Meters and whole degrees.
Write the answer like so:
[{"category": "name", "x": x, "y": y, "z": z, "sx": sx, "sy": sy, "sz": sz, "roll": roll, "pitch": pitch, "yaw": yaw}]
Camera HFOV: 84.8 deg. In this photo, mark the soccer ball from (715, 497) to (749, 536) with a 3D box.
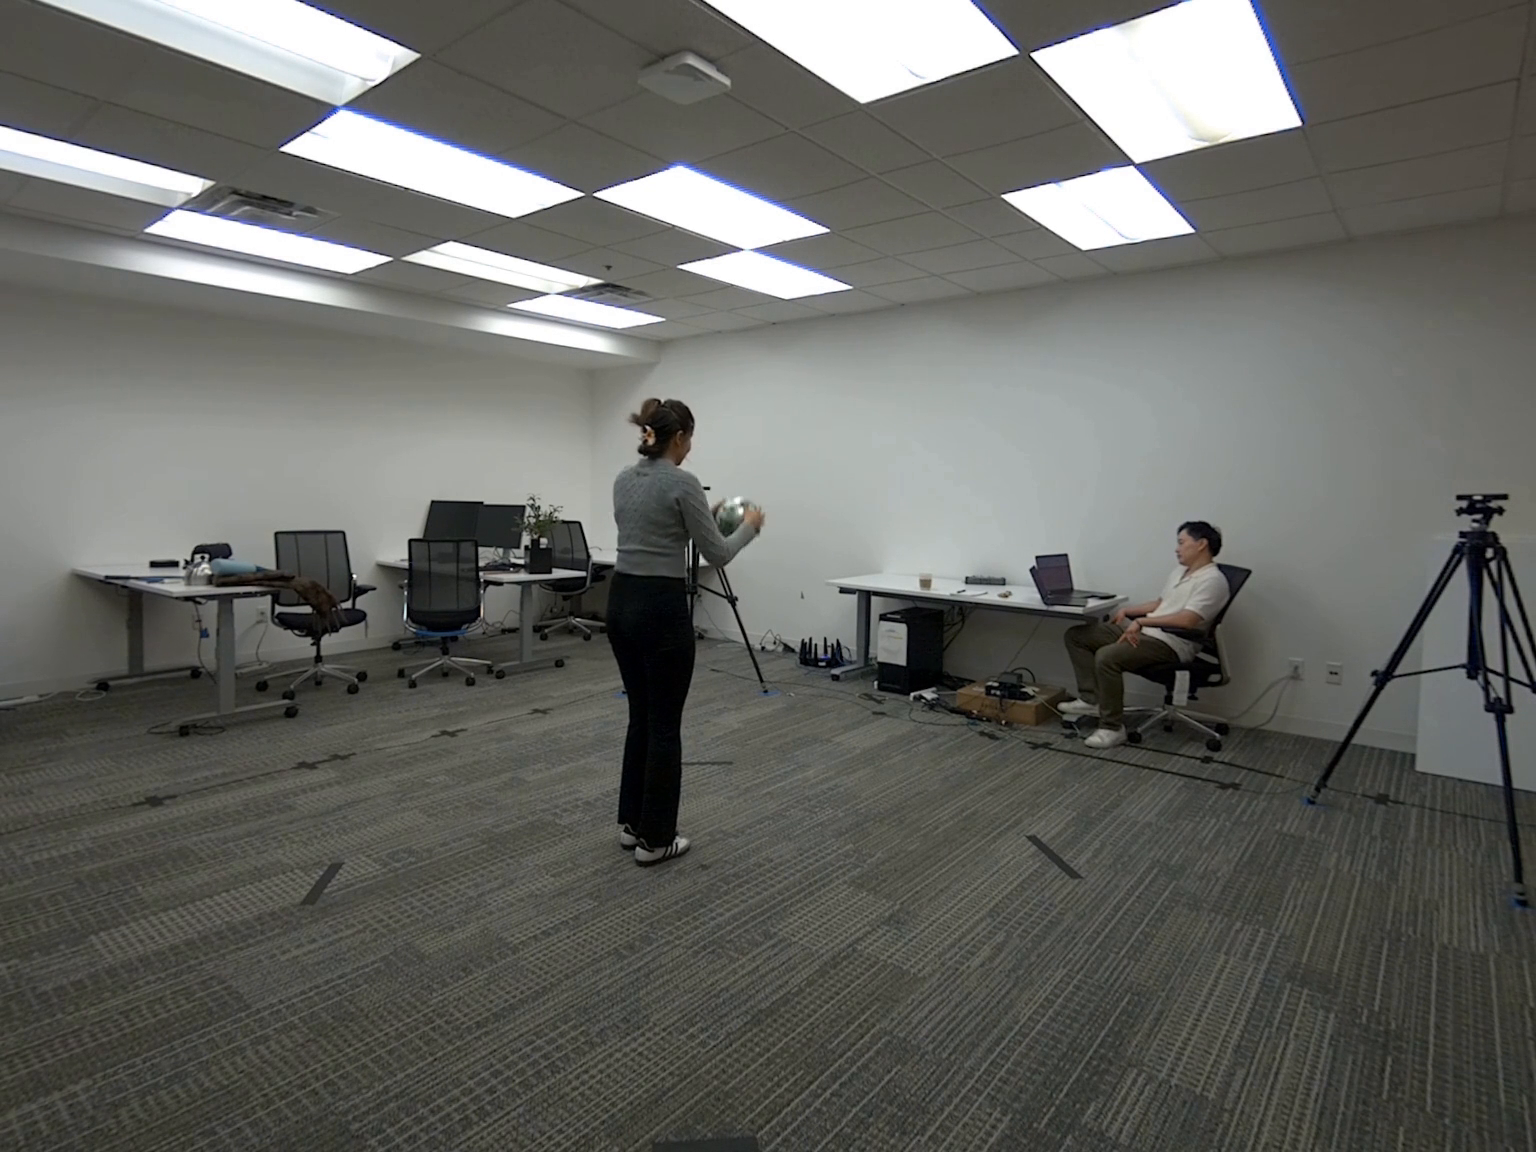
[{"category": "soccer ball", "x": -0.166, "y": -0.278, "z": 3.448, "sx": 0.187, "sy": 0.187, "sz": 0.188, "roll": 1, "pitch": 4, "yaw": -2}]
